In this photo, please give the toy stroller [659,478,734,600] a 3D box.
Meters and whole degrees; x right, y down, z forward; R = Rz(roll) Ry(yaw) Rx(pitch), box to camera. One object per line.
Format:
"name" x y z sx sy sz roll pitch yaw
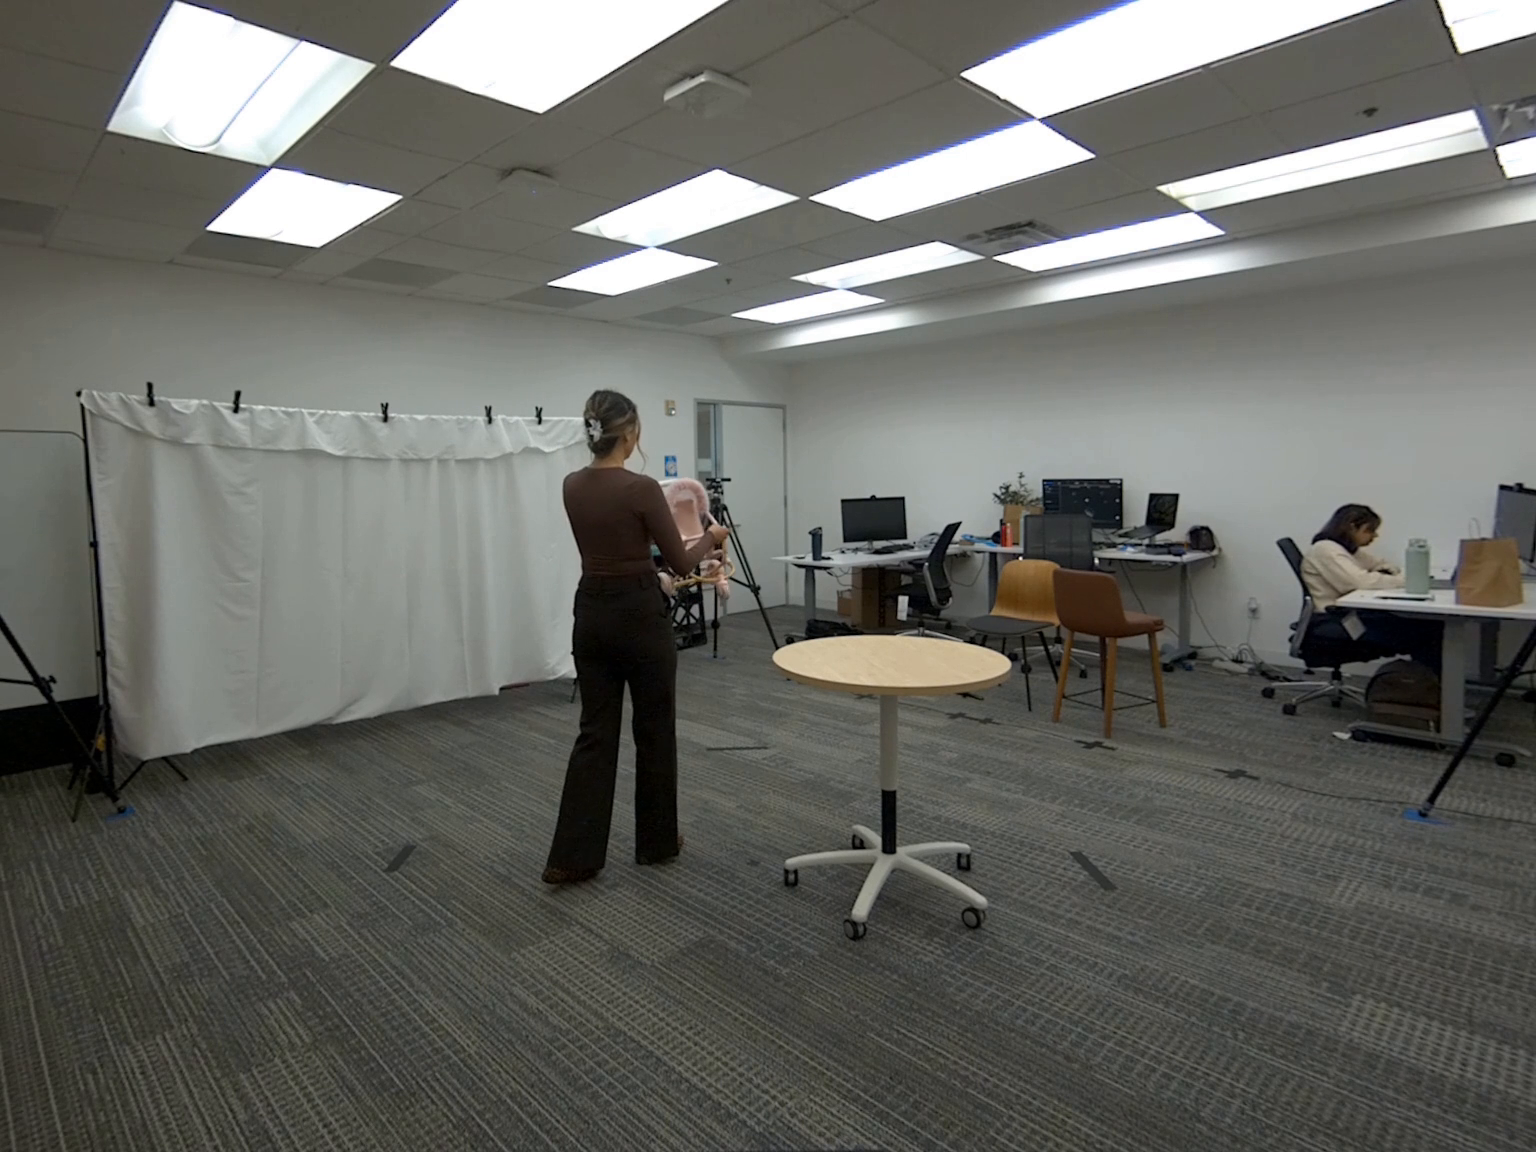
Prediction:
"toy stroller" -0.301 -0.148 3.401 0.276 0.537 0.347 -12 -3 -29
